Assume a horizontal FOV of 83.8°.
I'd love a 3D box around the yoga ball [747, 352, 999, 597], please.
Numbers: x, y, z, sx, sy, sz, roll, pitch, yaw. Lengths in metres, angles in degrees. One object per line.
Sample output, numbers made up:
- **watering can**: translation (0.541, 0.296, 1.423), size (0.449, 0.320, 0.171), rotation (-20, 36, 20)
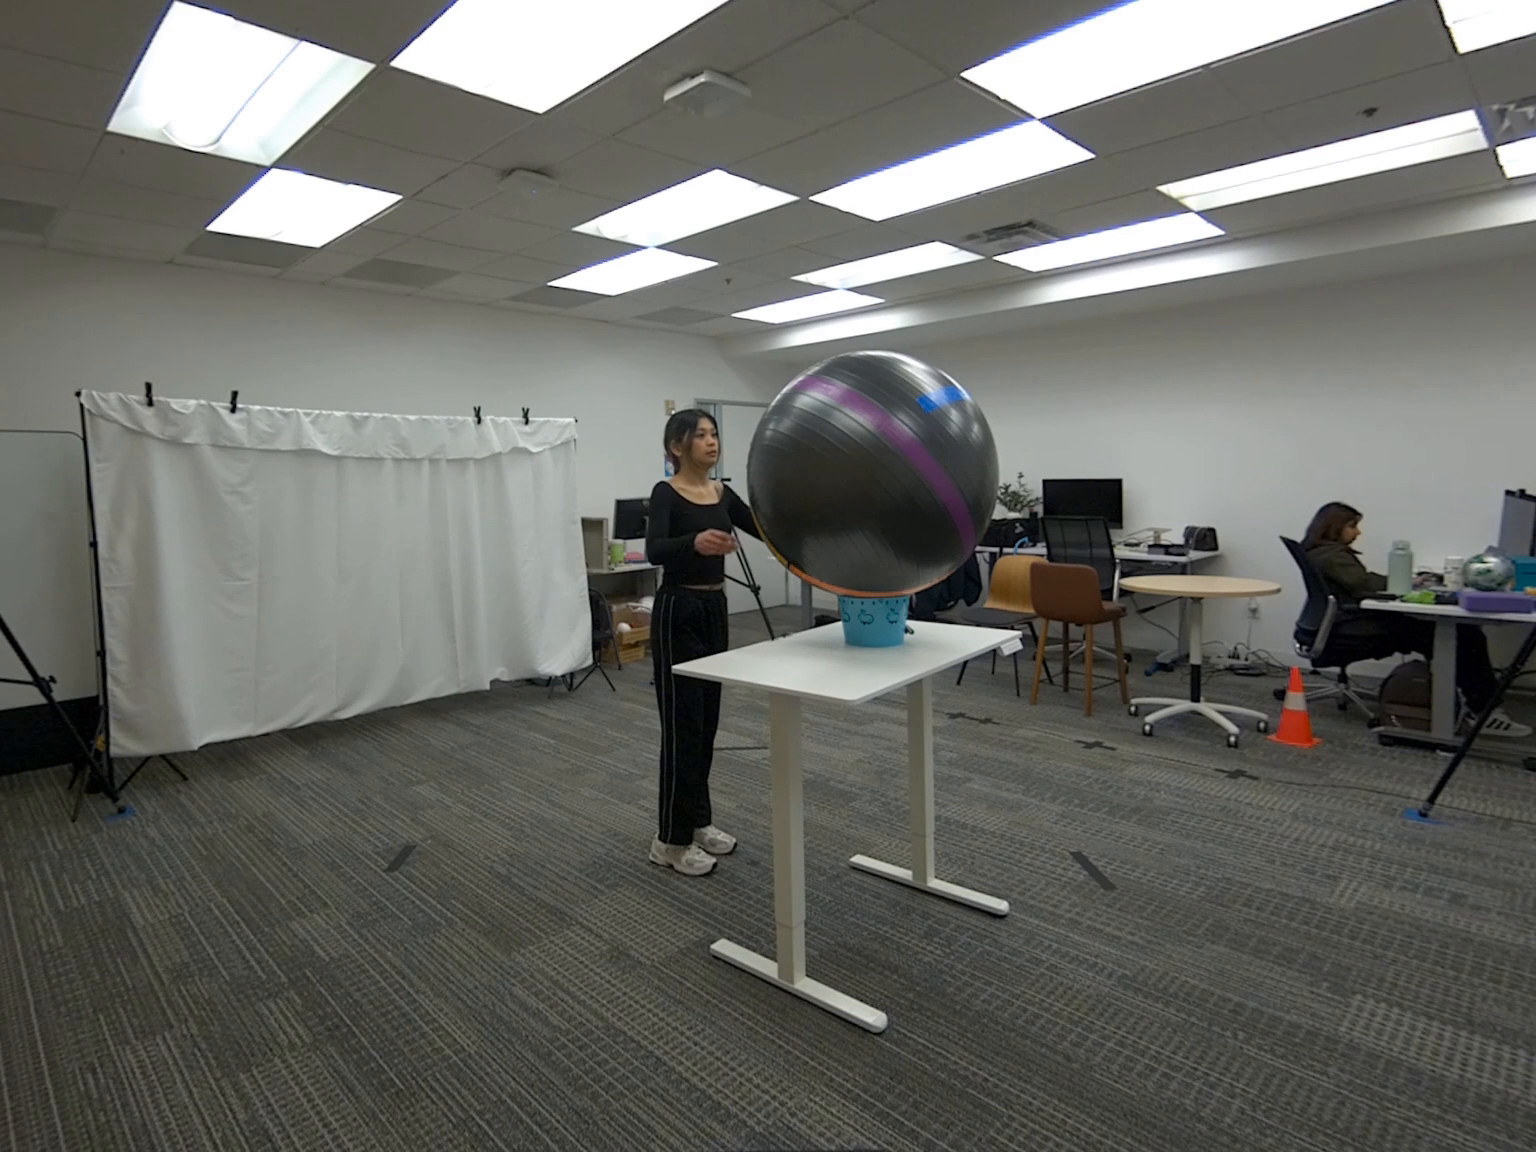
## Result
- **yoga ball**: translation (0.321, -0.298, 2.620), size (0.757, 0.755, 0.762), rotation (-1, 5, -2)
